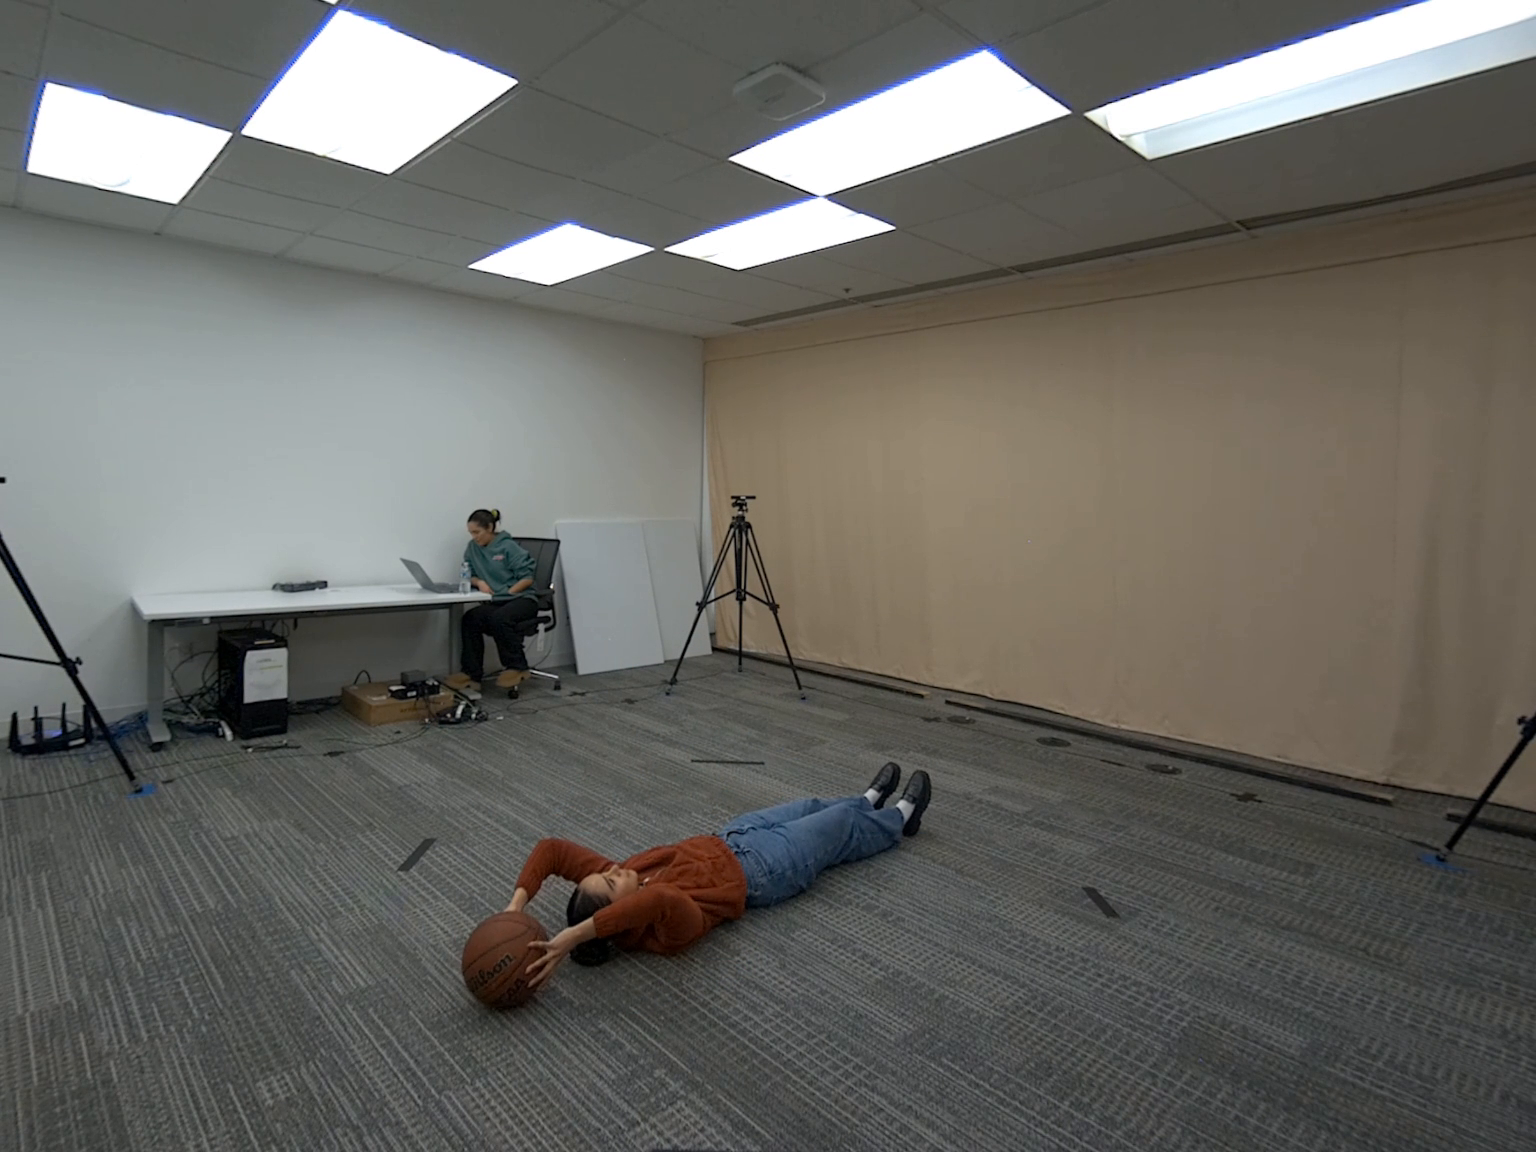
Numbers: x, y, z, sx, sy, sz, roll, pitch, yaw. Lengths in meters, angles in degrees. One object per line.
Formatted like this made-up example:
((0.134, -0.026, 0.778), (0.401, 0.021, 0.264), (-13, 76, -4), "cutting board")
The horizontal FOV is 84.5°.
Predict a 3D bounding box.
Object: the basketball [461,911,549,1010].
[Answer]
((-0.724, 1.048, 2.285), (0.236, 0.234, 0.237), (0, 8, -1), "basketball")
